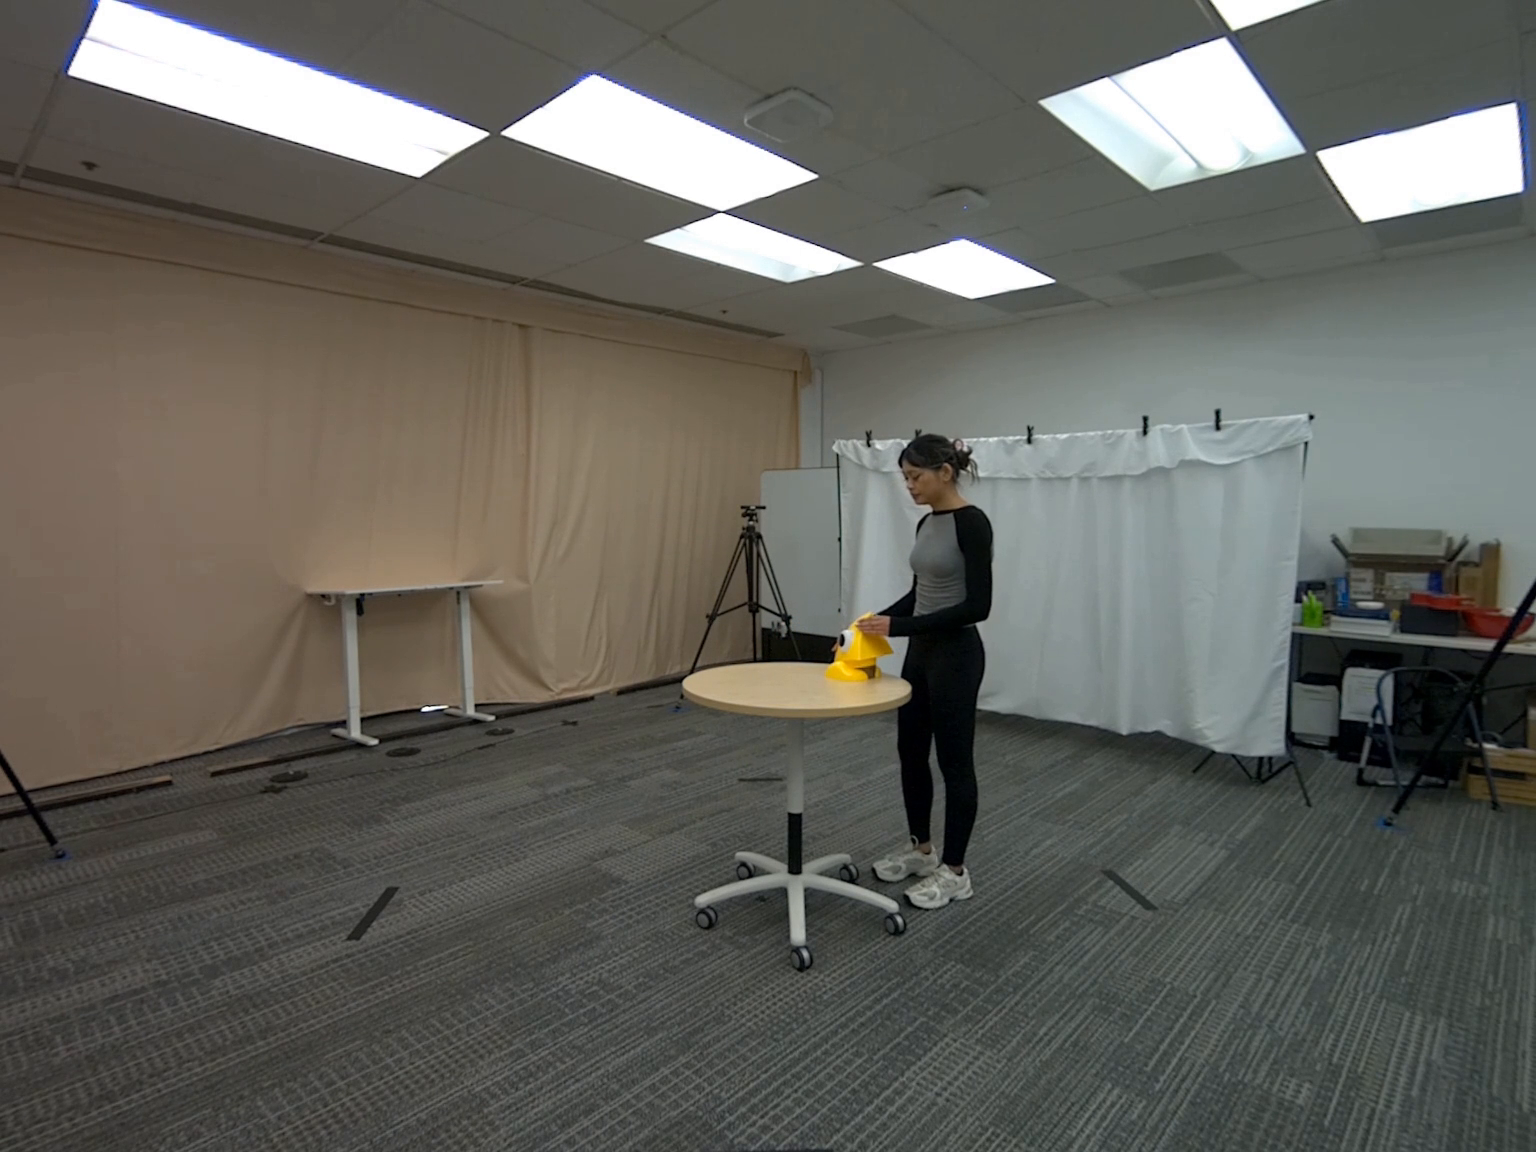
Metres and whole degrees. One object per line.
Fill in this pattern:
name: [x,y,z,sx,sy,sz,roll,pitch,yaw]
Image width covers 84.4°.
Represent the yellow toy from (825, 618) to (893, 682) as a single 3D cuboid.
yellow toy: [0.317,0.242,2.973,0.199,0.230,0.198,2,3,43]
